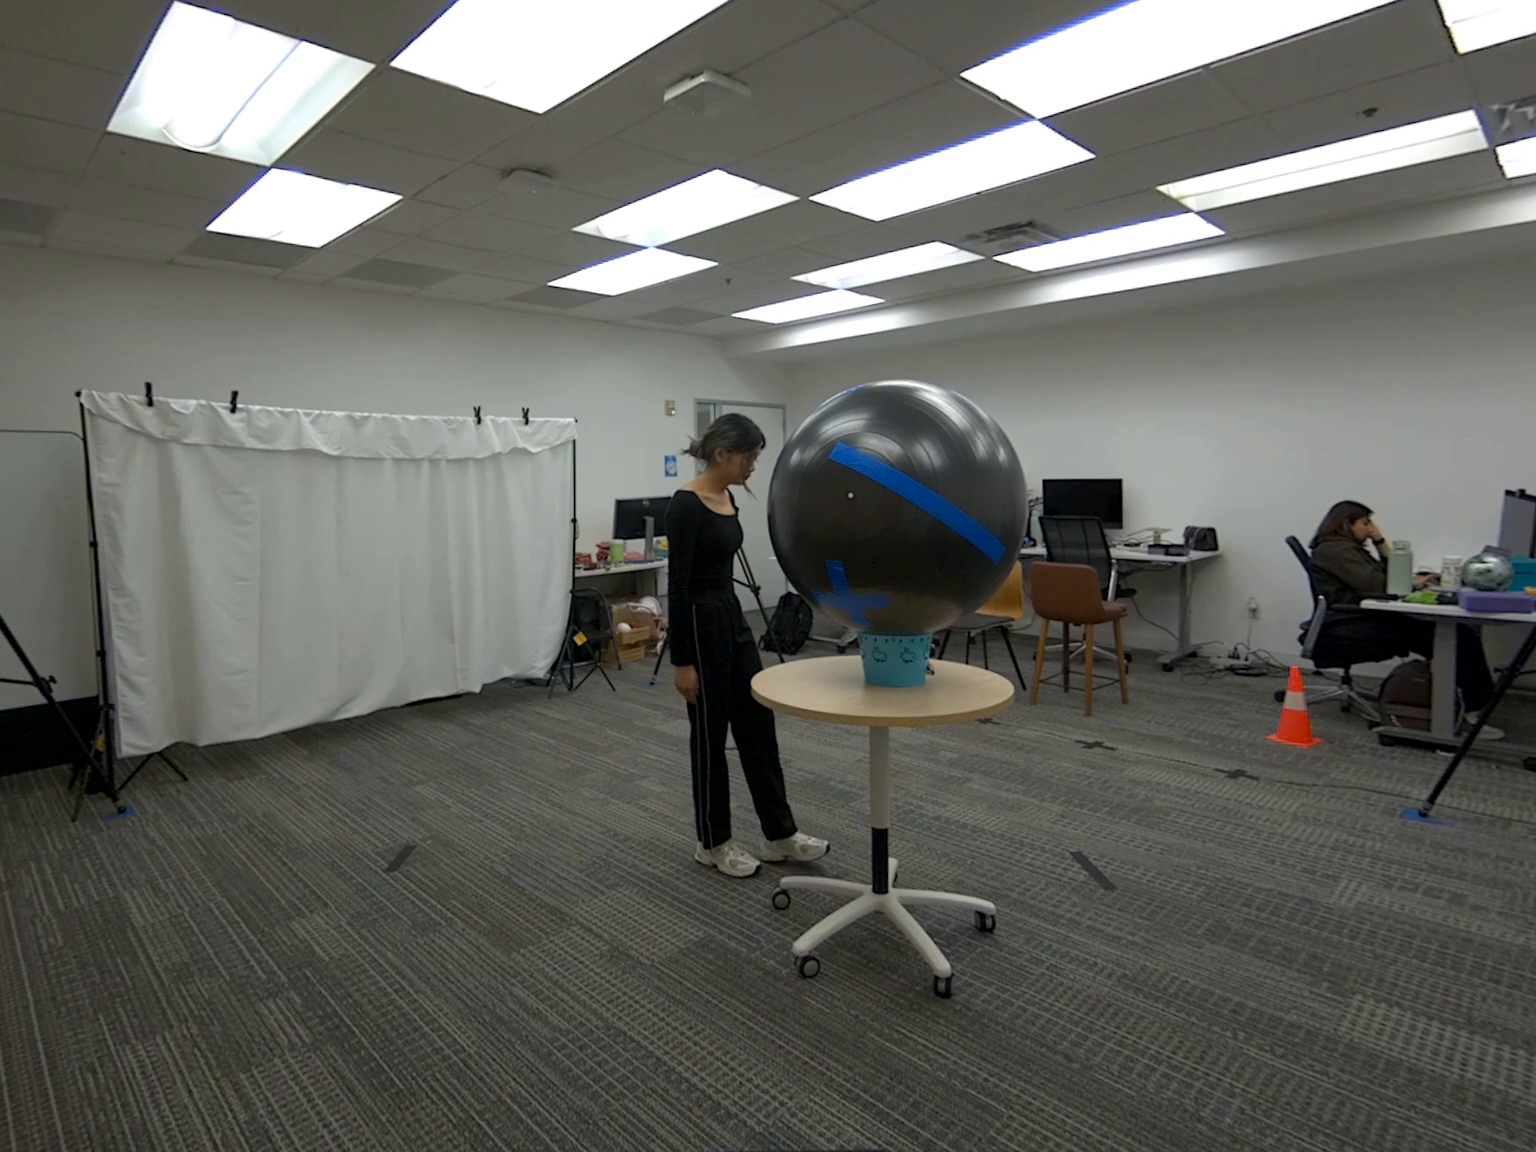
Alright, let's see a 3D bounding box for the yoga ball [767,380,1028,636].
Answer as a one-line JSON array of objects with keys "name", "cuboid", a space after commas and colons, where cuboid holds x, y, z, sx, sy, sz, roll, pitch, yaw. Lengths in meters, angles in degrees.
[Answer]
[{"name": "yoga ball", "cuboid": [0.375, -0.195, 2.541, 0.757, 0.755, 0.762, -1, 5, -2]}]
